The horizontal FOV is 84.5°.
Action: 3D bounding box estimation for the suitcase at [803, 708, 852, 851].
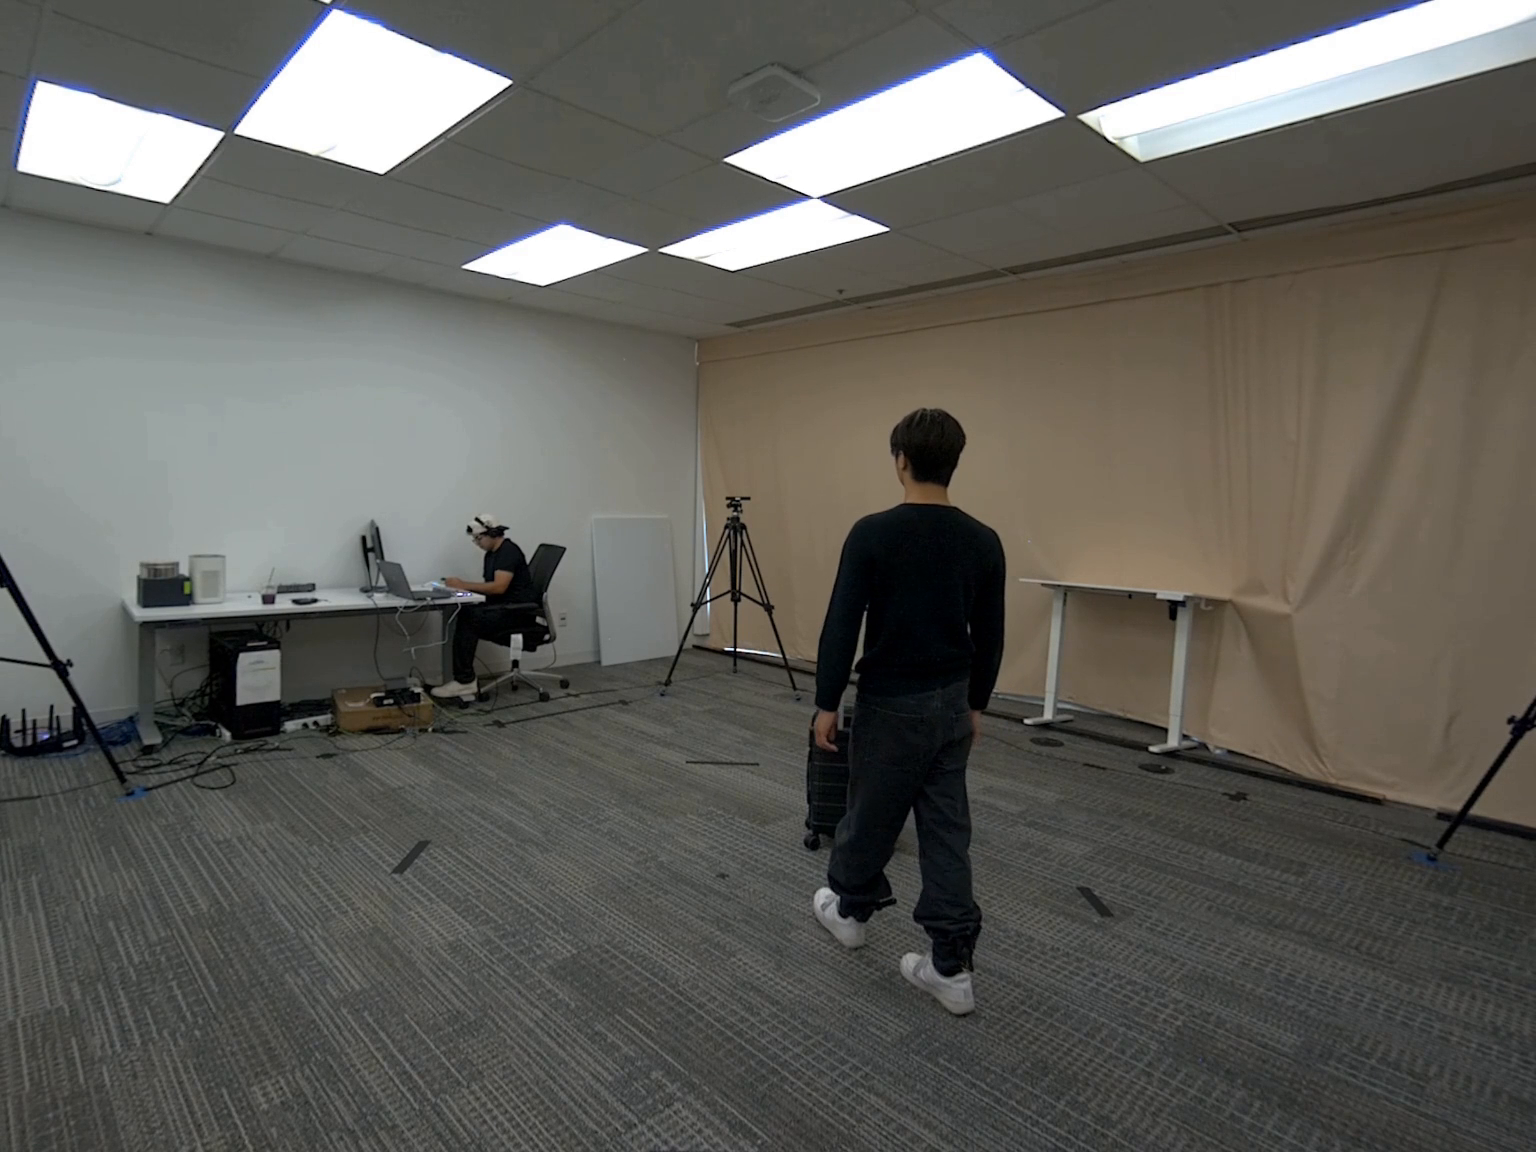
[{"bbox_3d":[0.353,0.613,3.445,0.386,0.978,0.255,3,0,7],"label":"suitcase"}]
